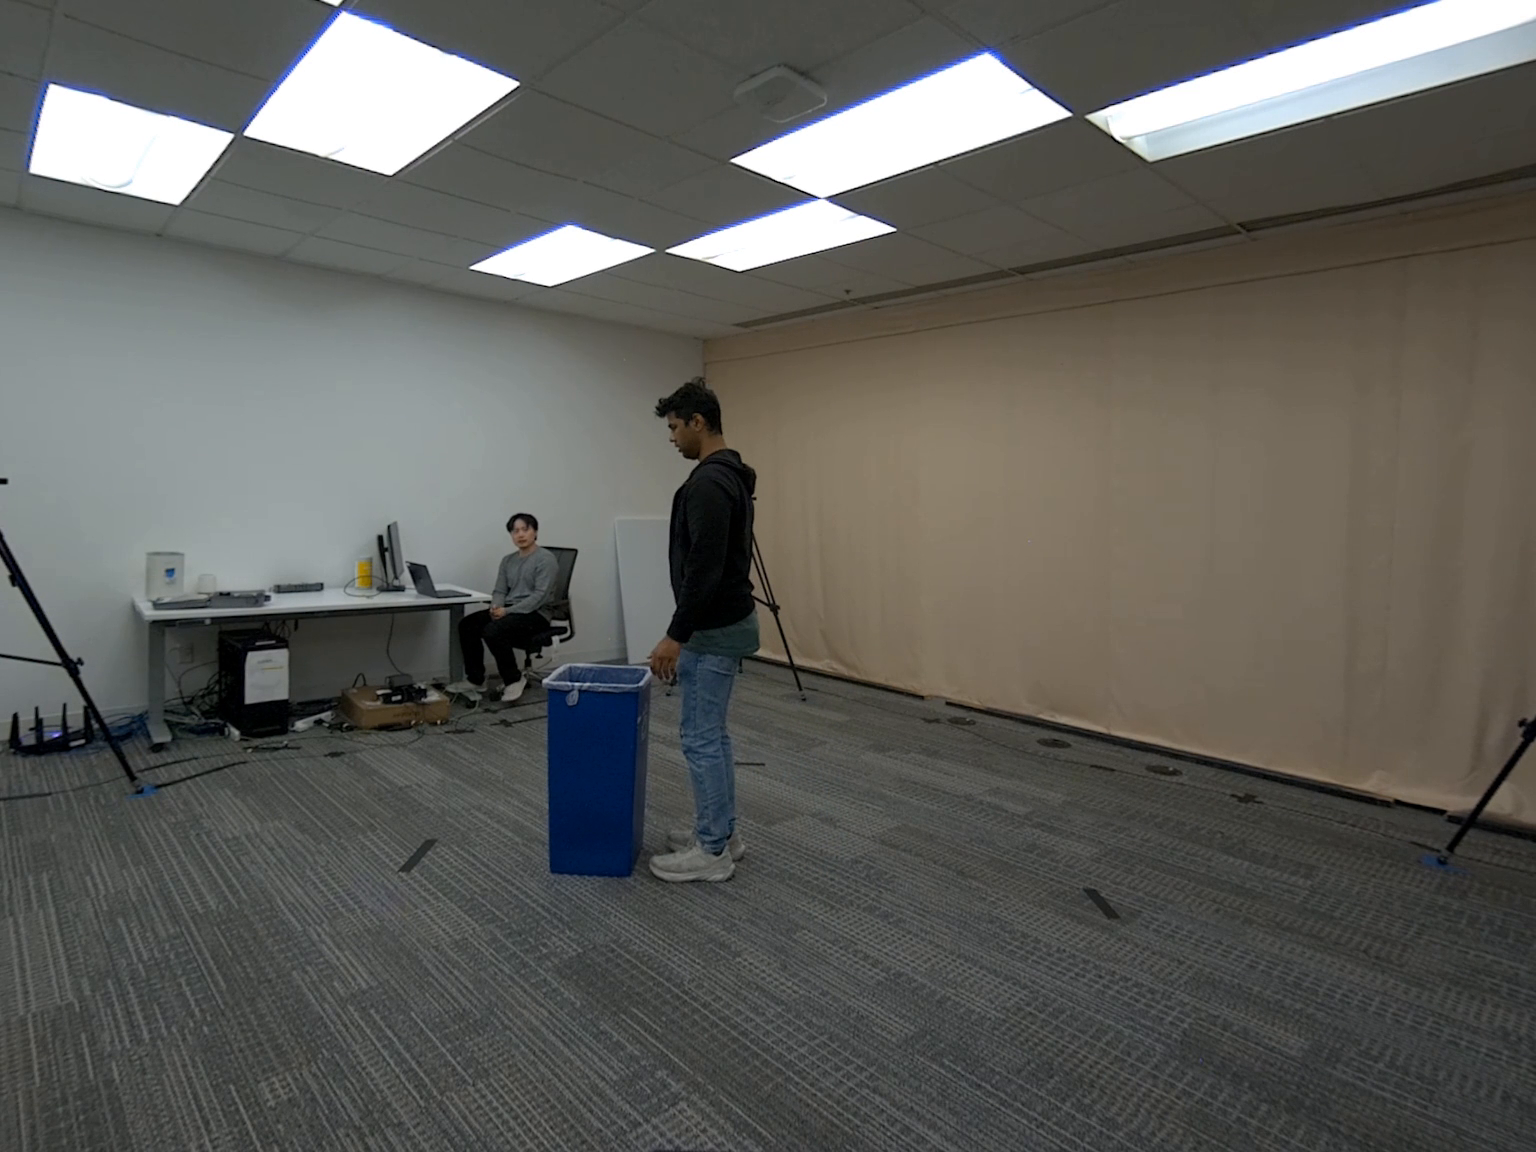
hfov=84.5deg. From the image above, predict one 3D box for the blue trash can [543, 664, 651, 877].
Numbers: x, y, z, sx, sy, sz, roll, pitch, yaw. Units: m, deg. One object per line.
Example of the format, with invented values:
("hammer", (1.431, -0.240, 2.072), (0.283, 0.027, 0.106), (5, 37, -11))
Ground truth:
("blue trash can", (-0.644, 0.727, 3.215), (0.379, 0.712, 0.374), (2, 4, 3))
